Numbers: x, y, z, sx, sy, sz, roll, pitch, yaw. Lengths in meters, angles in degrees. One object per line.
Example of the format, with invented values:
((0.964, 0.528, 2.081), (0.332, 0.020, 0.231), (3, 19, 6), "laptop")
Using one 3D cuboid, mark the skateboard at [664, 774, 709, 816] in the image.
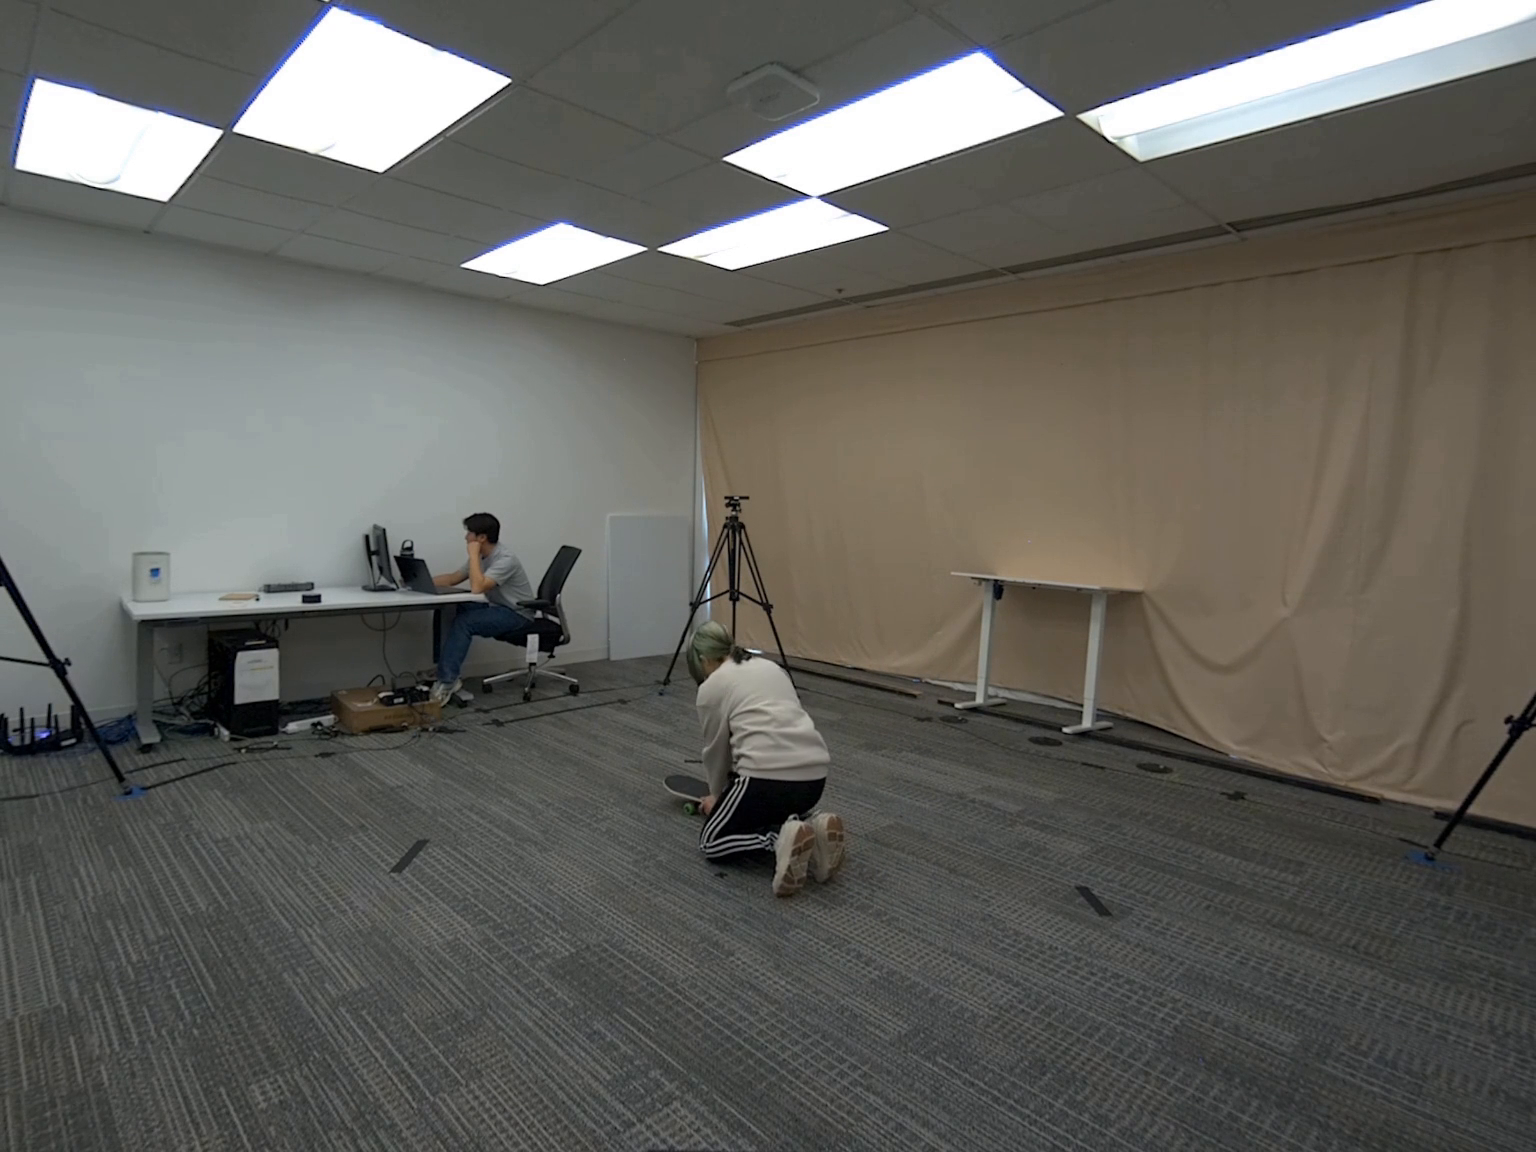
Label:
((-0.147, 1.003, 3.630), (0.805, 0.110, 0.189), (6, 6, 38), "skateboard")
